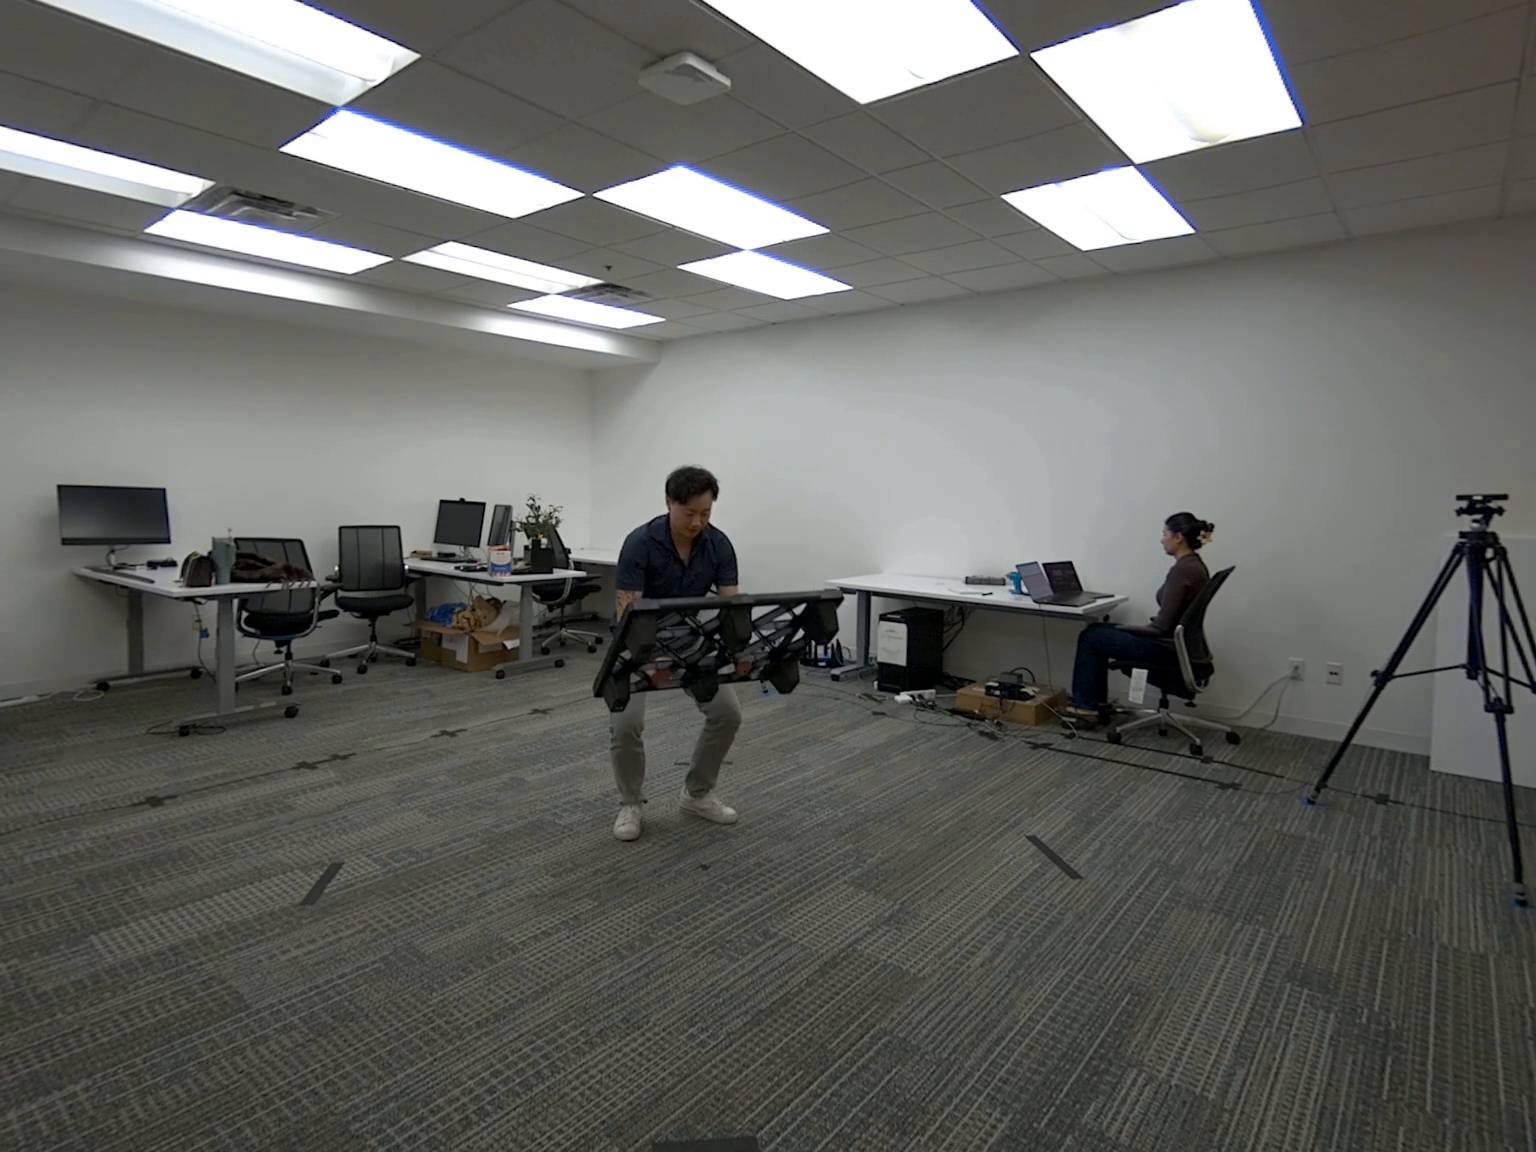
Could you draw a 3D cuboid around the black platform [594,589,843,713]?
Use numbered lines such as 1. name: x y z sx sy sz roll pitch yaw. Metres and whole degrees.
1. black platform: -0.181 0.280 3.044 0.787 0.148 0.599 -2 -34 -25
